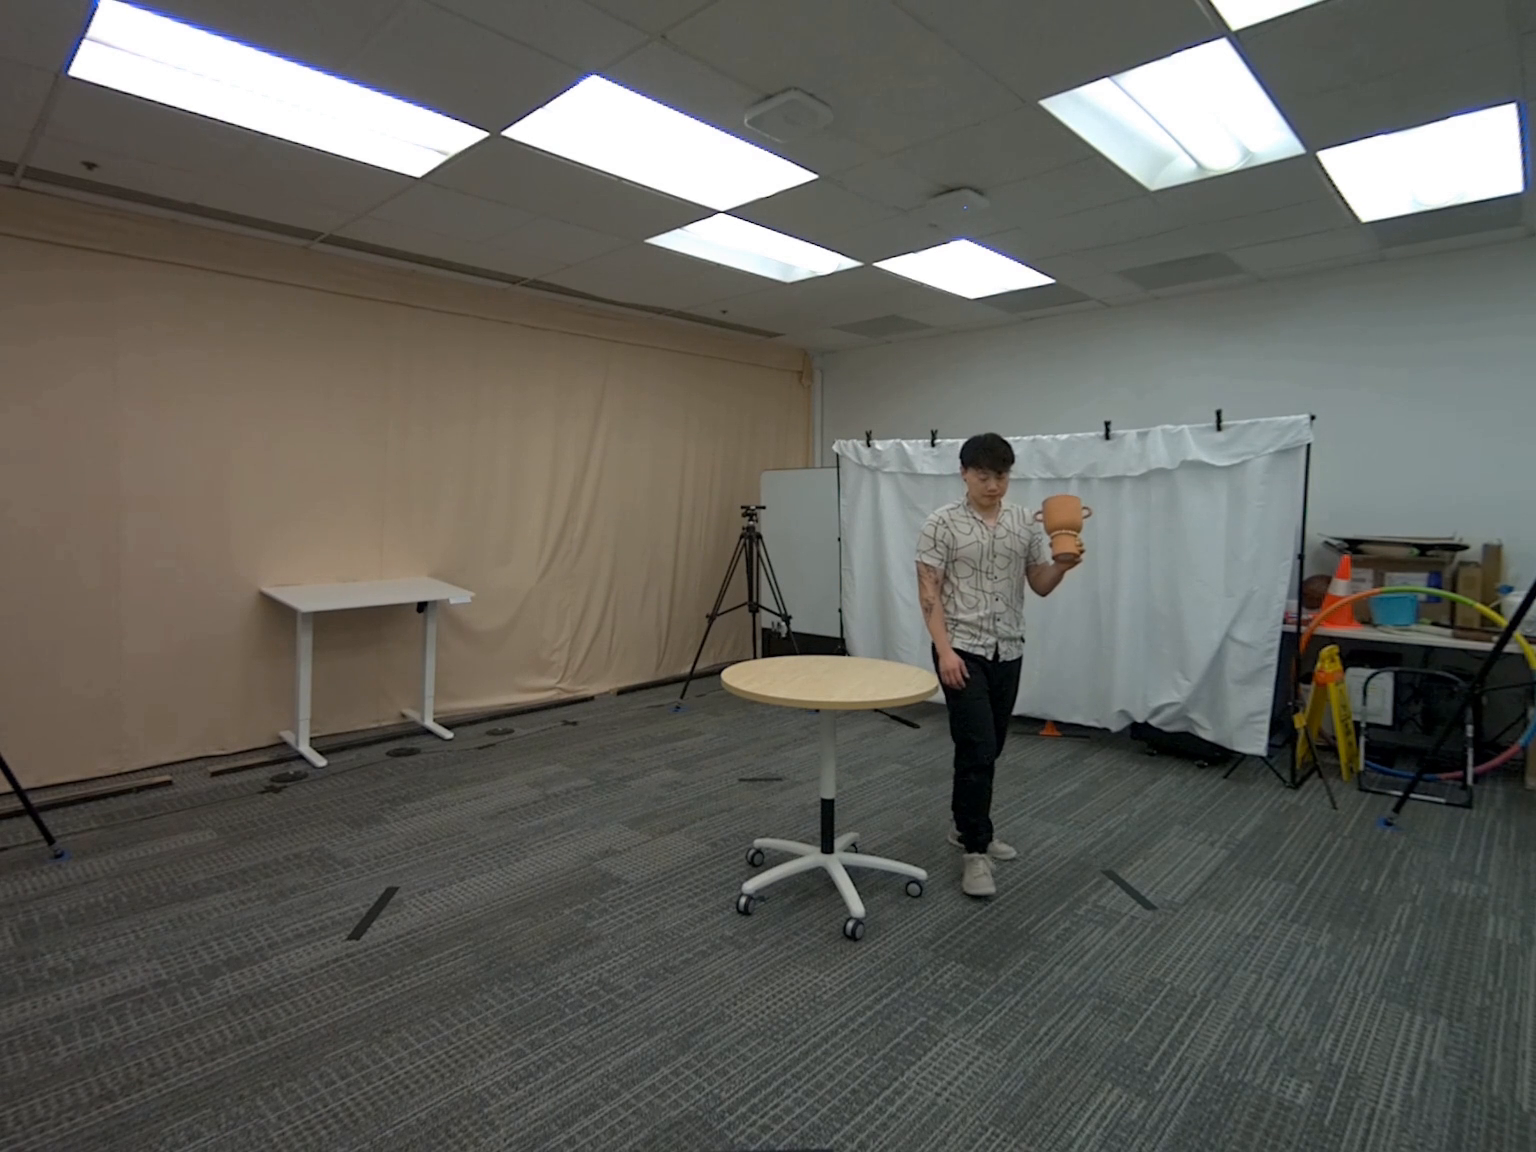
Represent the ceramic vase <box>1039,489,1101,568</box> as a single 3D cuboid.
[{"bbox_3d":[1.079,-0.166,3.044,0.132,0.222,0.161,17,-23,-19],"label":"ceramic vase"}]
